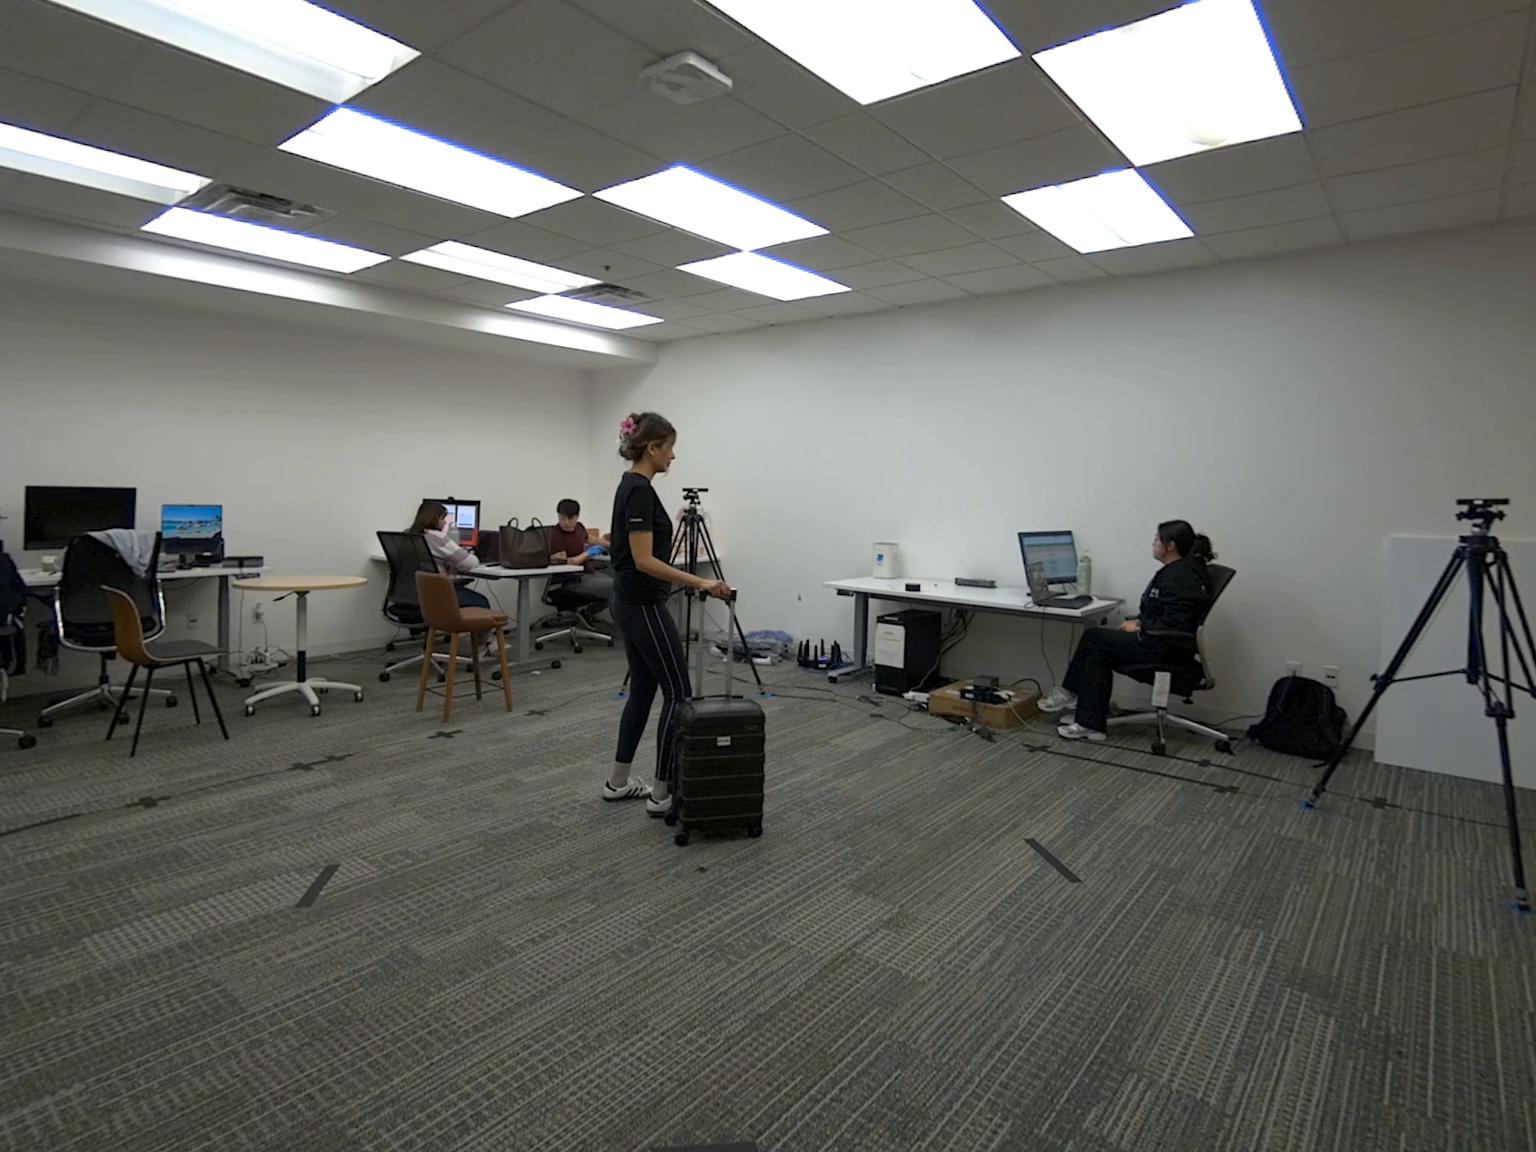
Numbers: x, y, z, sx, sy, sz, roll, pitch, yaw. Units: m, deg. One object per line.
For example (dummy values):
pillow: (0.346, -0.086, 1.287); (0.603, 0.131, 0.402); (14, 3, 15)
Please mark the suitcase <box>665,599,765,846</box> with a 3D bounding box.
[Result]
suitcase: (-0.201, 0.561, 3.429); (0.378, 0.974, 0.262); (0, 5, -16)
